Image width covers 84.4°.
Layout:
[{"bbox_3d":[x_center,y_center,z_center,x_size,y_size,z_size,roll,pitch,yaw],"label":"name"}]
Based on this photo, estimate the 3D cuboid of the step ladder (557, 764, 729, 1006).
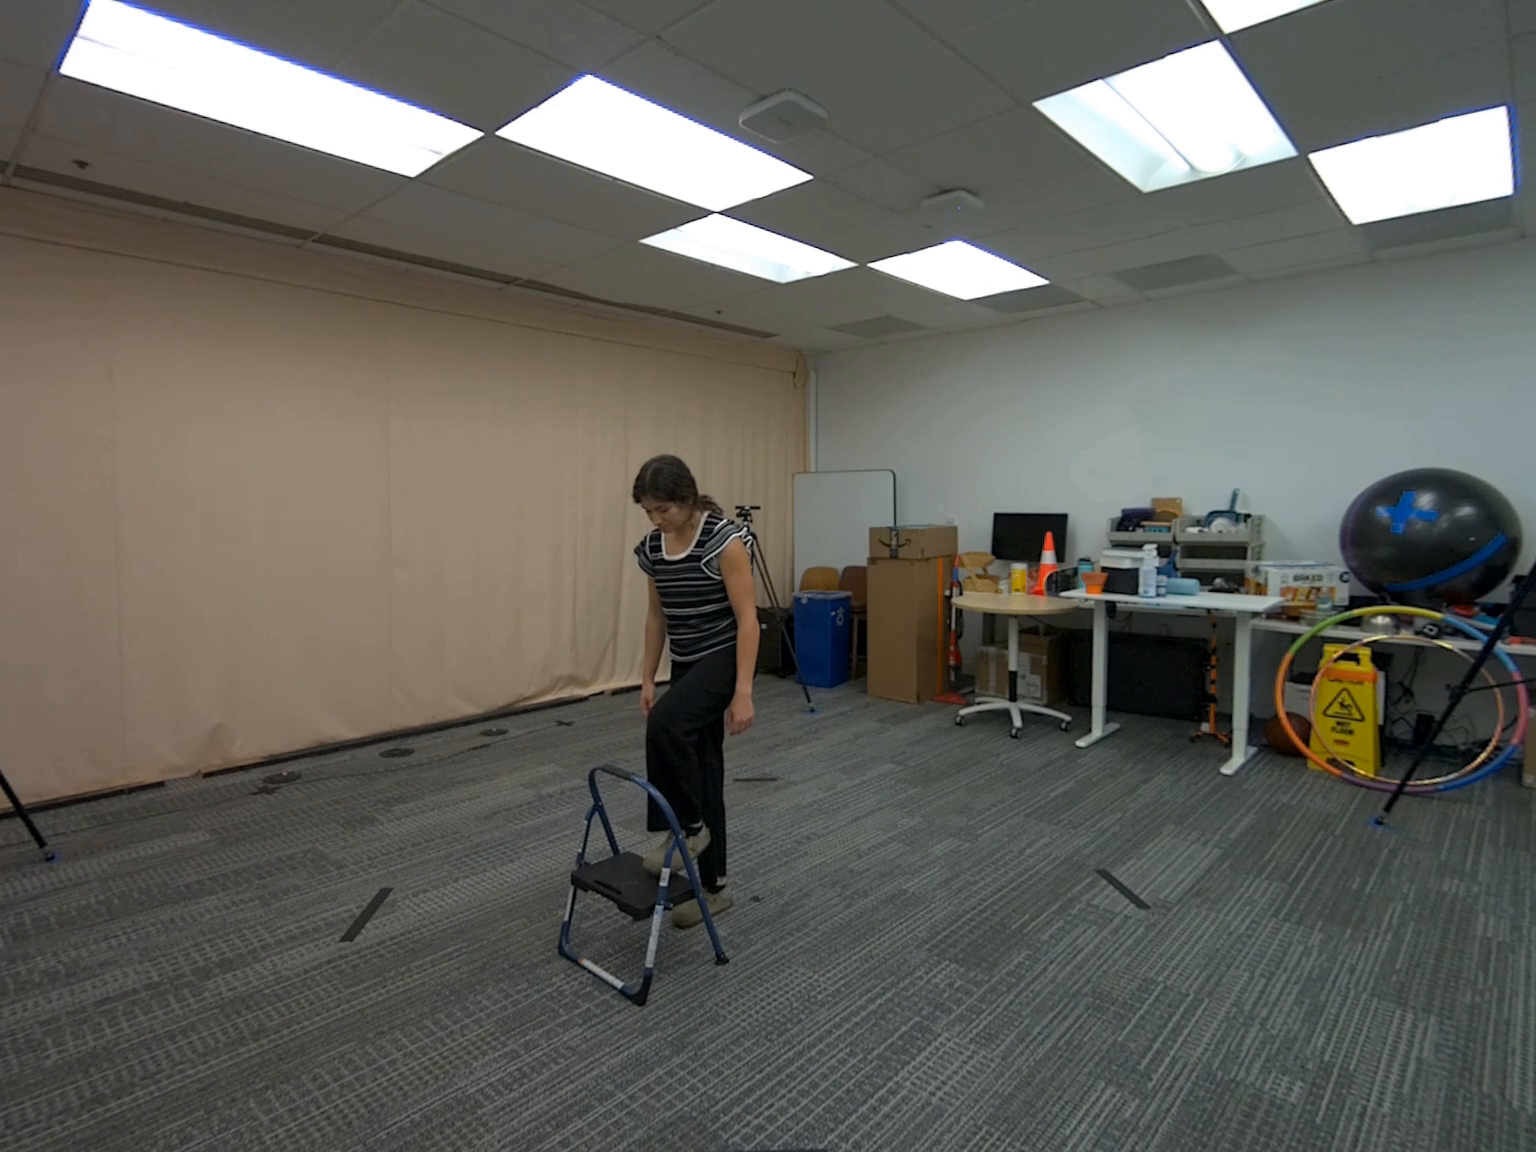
[{"bbox_3d":[-0.394,0.878,2.585,0.445,0.605,0.338,3,5,43],"label":"step ladder"}]
